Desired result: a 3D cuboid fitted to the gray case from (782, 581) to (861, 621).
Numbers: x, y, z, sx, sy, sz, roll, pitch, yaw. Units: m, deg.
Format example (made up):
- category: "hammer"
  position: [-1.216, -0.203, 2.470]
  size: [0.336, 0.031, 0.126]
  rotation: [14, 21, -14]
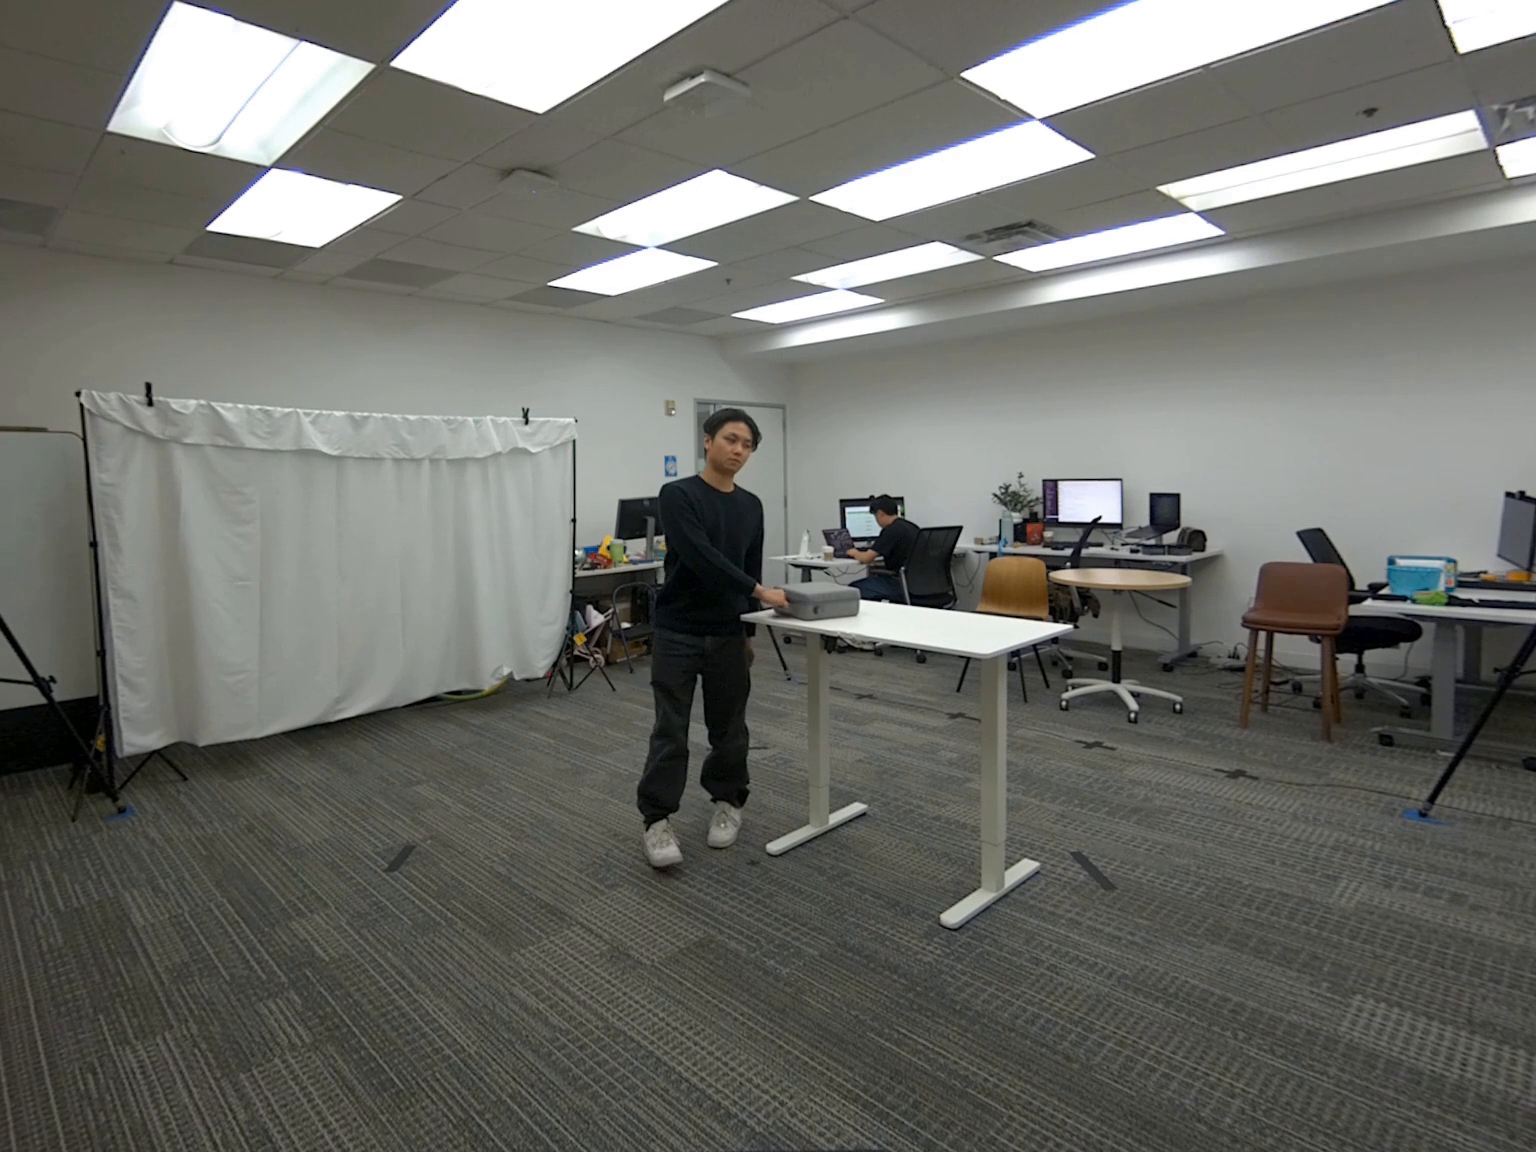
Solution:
- category: "gray case"
  position: [0.178, 0.089, 3.190]
  size: [0.255, 0.104, 0.264]
  rotation: [-4, 9, -28]
